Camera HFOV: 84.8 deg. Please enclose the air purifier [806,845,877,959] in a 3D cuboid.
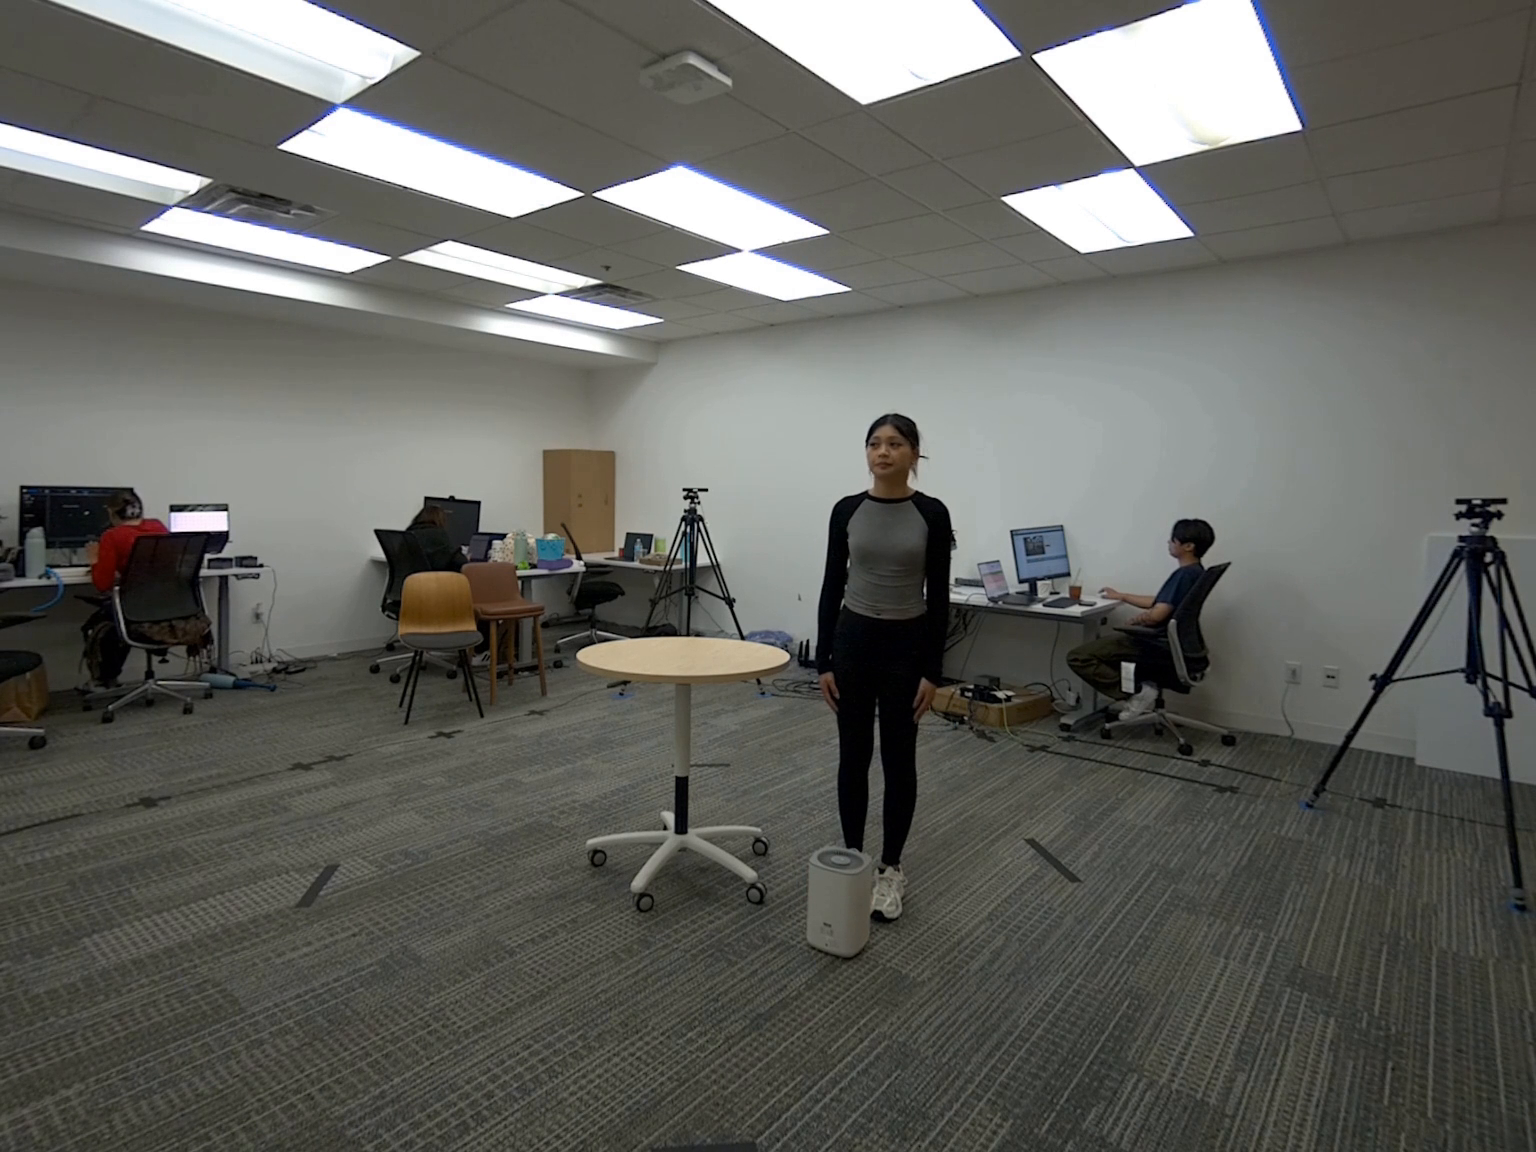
[{"bbox_3d":[0.216,0.992,2.610,0.176,0.265,0.167,3,4,29],"label":"air purifier"}]
